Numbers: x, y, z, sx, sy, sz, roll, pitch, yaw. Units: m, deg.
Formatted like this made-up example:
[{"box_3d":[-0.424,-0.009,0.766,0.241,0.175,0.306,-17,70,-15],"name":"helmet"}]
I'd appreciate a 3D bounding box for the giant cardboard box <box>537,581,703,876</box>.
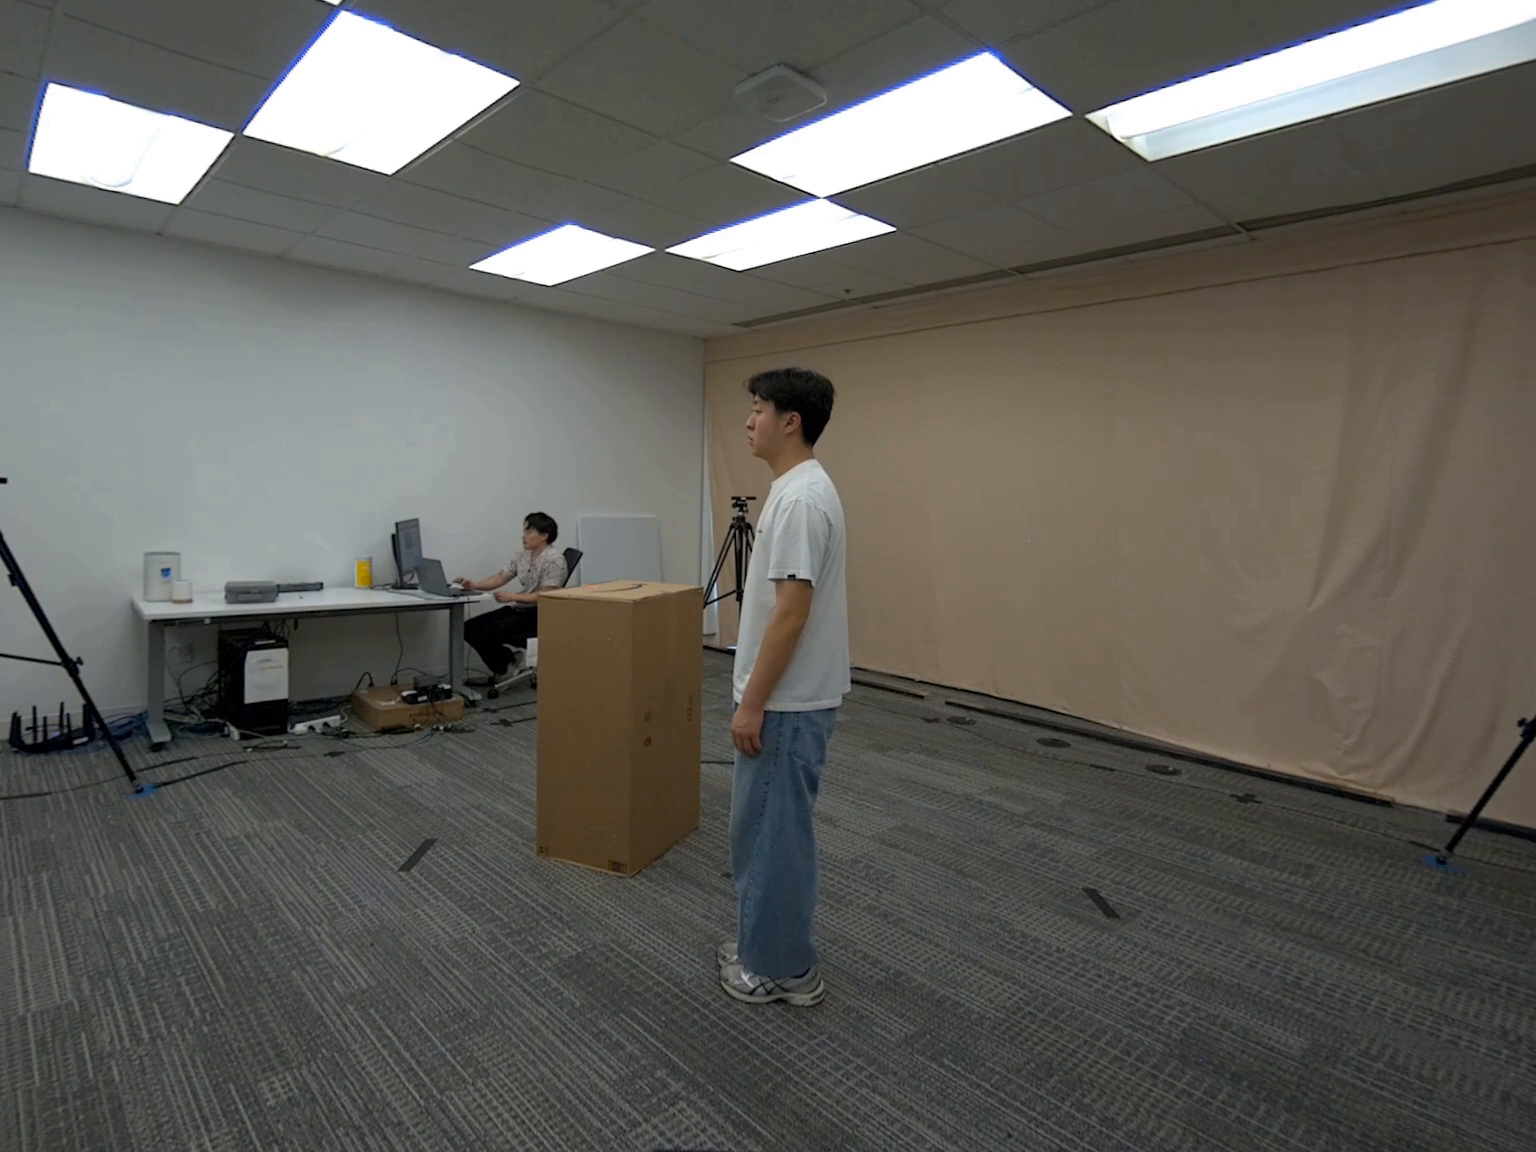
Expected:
[{"box_3d":[-0.588,0.561,3.374,0.434,1.023,0.568,3,4,24],"name":"giant cardboard box"}]
